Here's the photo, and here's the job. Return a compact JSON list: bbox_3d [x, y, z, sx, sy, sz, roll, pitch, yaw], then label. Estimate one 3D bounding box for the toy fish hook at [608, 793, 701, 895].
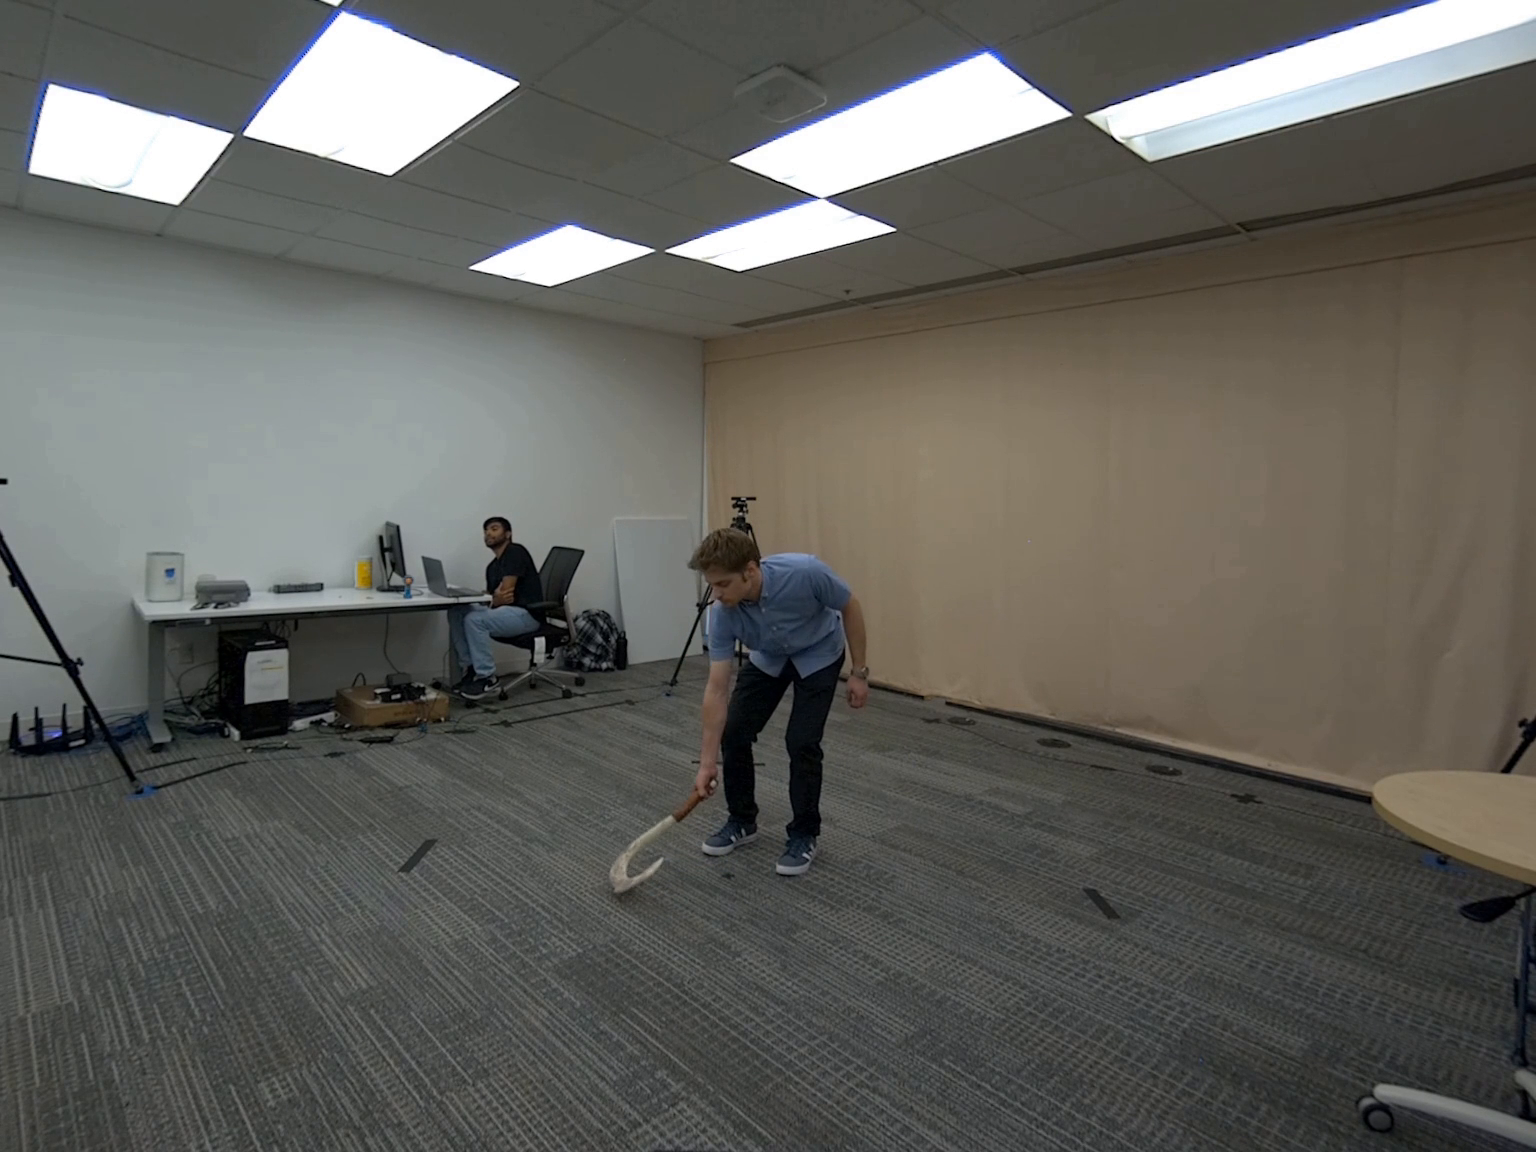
[{"bbox_3d":[-0.359,0.910,2.960,0.506,0.047,0.230,-41,26,-12],"label":"toy fish hook"}]
